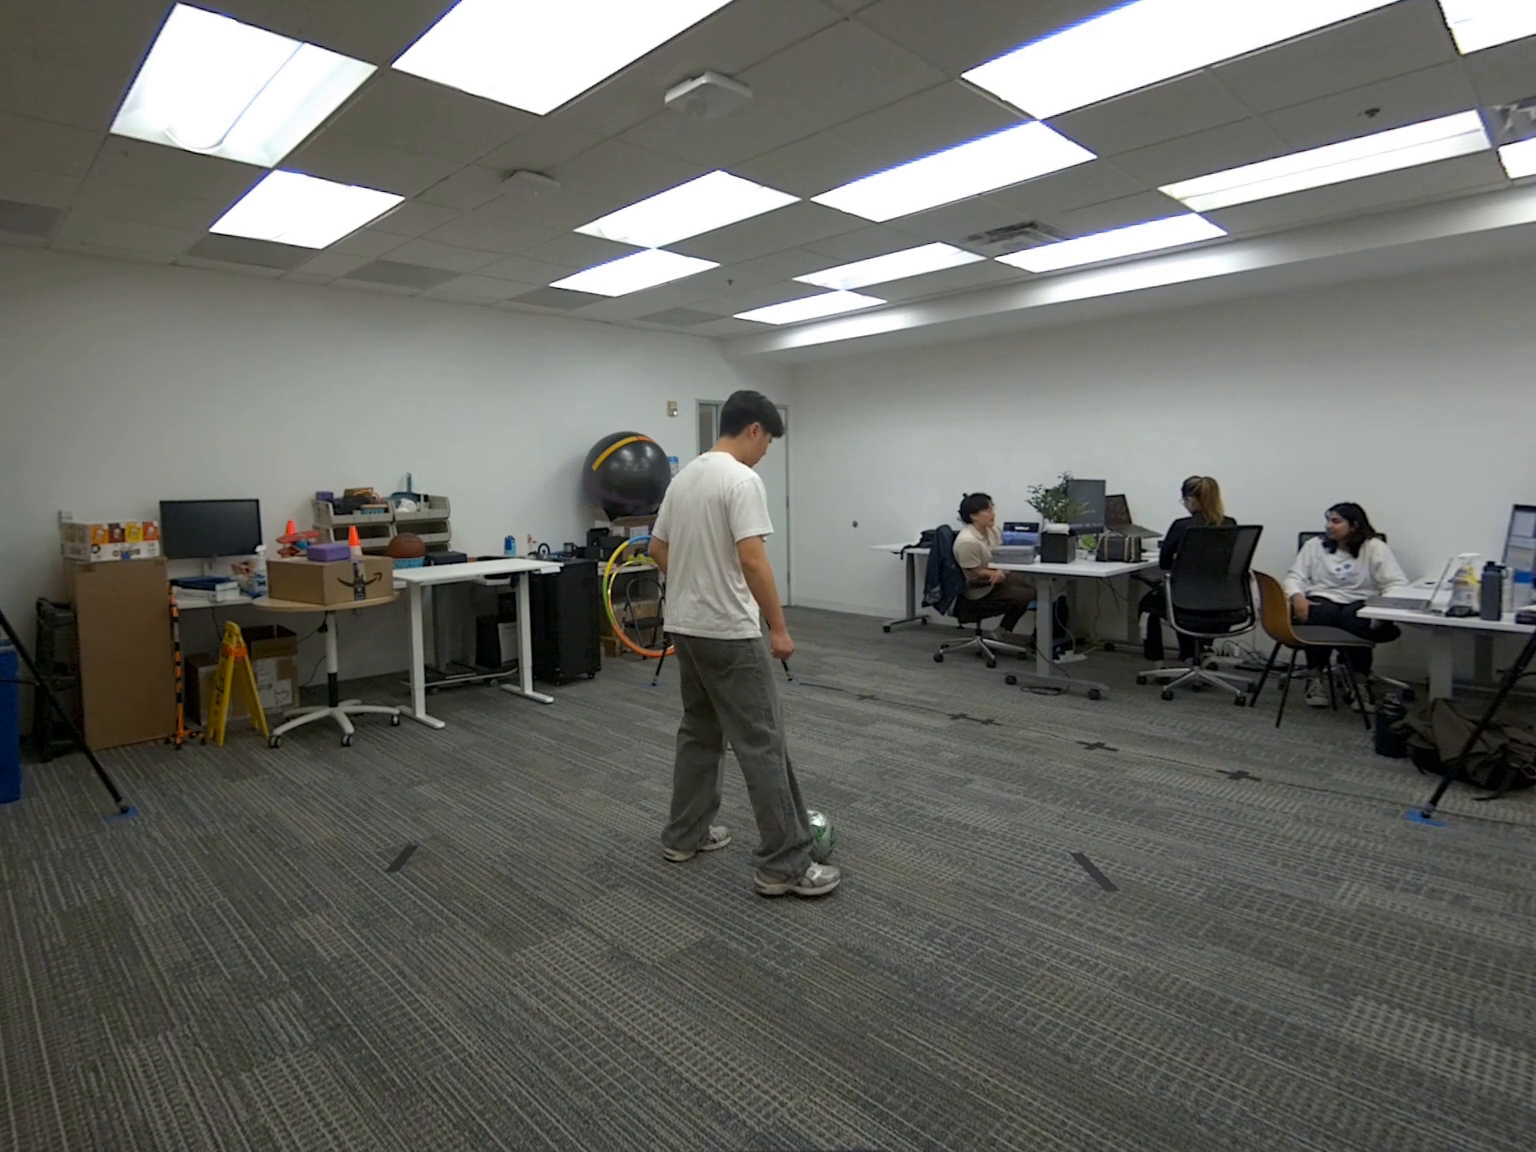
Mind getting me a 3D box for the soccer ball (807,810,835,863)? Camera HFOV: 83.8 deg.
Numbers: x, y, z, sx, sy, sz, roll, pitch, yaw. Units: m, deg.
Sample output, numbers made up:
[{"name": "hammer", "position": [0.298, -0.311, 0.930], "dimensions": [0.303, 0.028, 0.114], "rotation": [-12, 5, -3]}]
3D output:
[{"name": "soccer ball", "position": [0.162, 0.946, 3.109], "dimensions": [0.187, 0.187, 0.188], "rotation": [-1, 5, -2]}]
